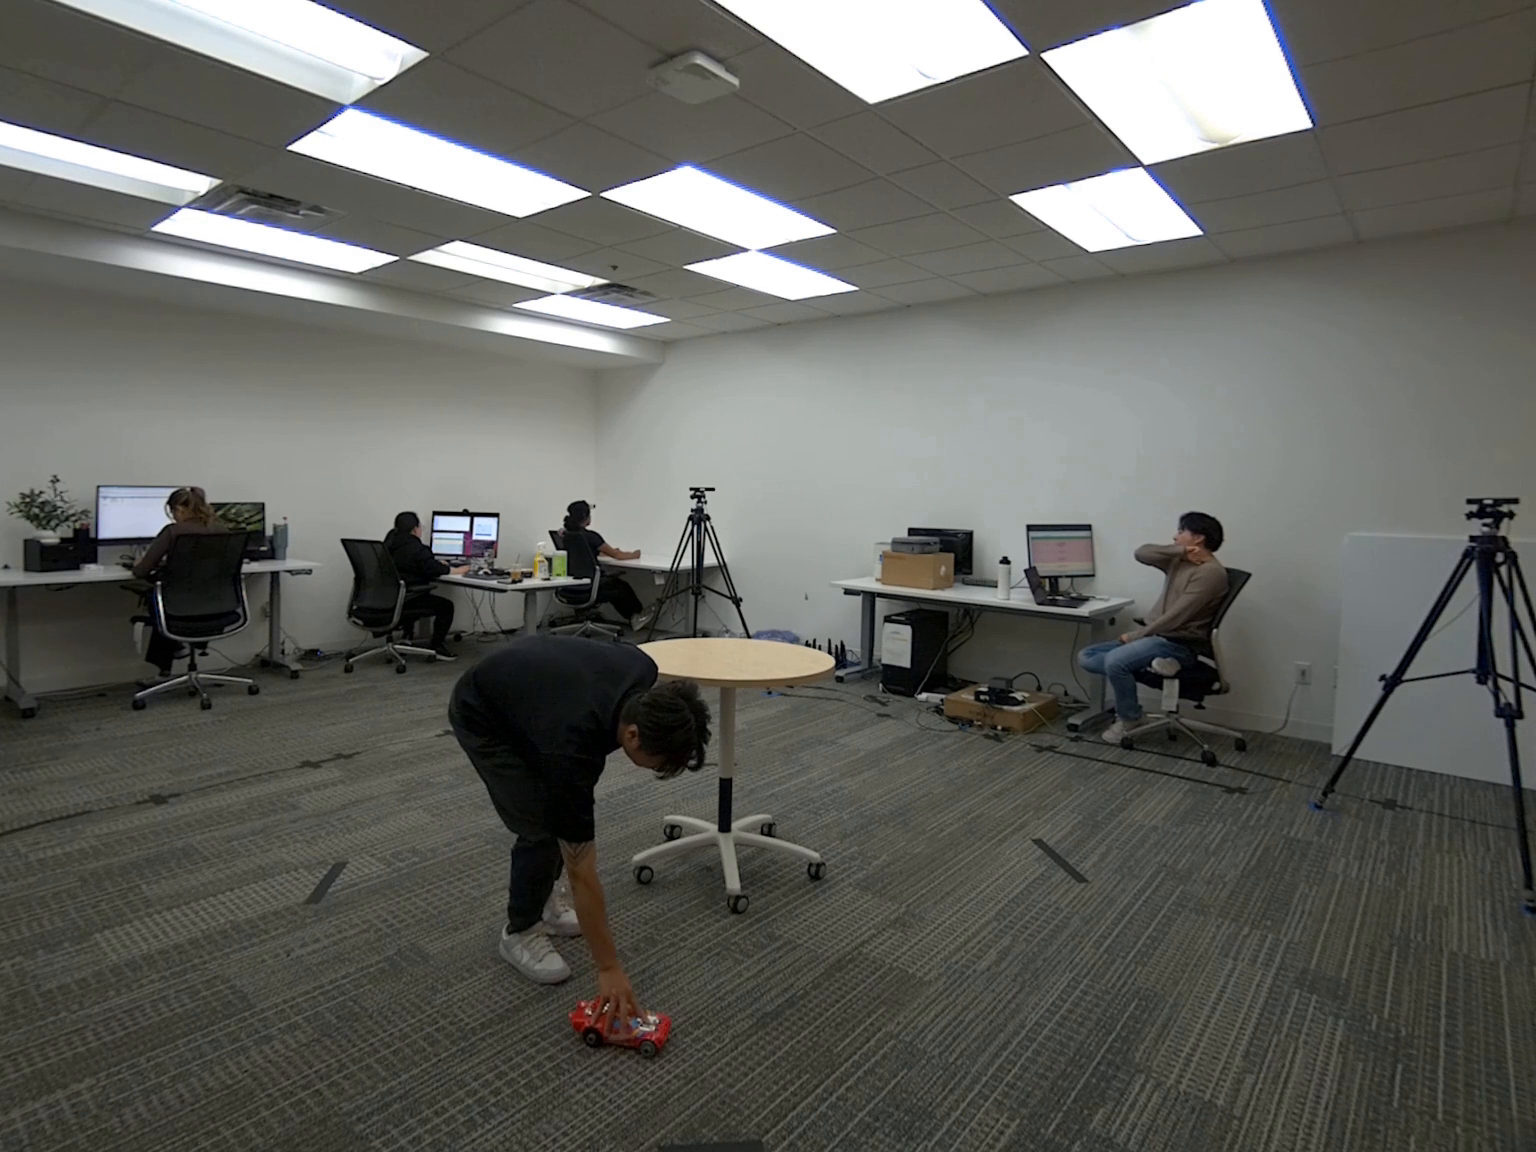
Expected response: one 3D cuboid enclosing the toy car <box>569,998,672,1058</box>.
[{"bbox_3d":[-0.384,1.132,2.147,0.258,0.083,0.129,14,7,11],"label":"toy car"}]
